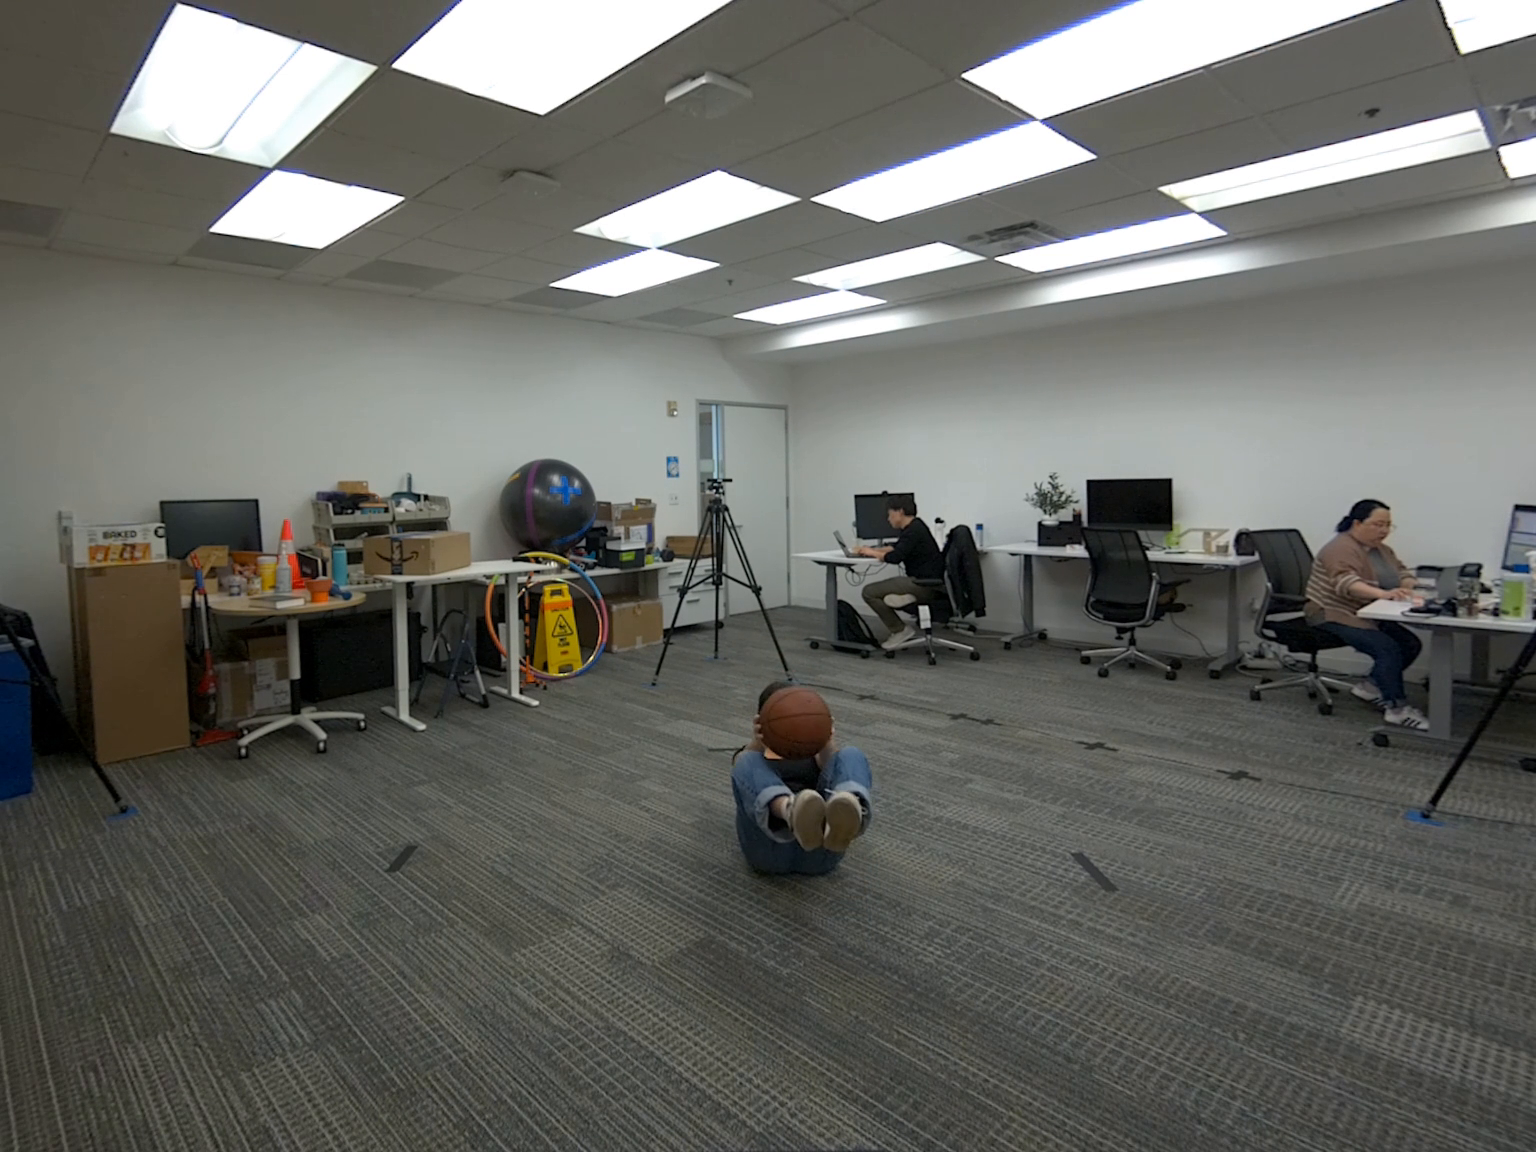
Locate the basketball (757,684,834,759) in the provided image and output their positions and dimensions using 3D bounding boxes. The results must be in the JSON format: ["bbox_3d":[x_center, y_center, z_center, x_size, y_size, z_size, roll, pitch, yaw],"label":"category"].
[{"bbox_3d":[0.094,0.485,2.818,0.236,0.235,0.237,-1,5,-2],"label":"basketball"}]
